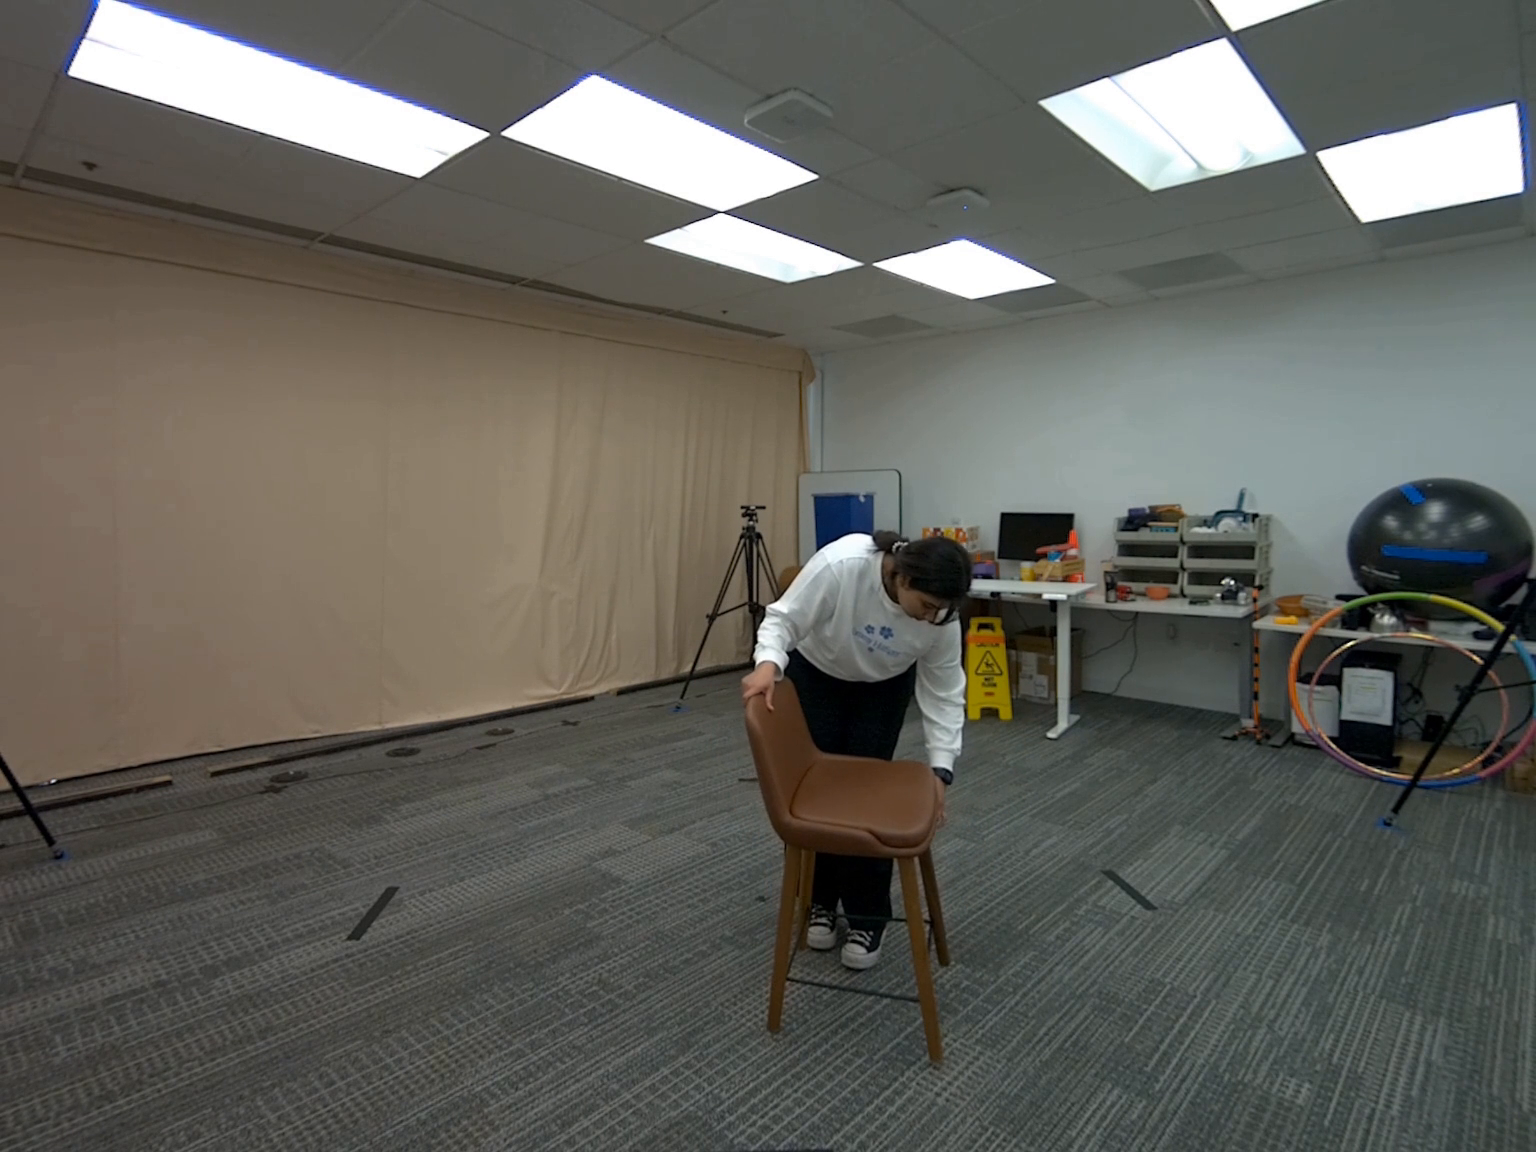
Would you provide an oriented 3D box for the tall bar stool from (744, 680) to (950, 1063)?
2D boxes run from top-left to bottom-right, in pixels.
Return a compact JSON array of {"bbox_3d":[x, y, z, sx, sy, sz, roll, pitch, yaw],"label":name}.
[{"bbox_3d":[0.235,0.740,2.274,0.476,0.884,0.451,-3,9,18],"label":"tall bar stool"}]
